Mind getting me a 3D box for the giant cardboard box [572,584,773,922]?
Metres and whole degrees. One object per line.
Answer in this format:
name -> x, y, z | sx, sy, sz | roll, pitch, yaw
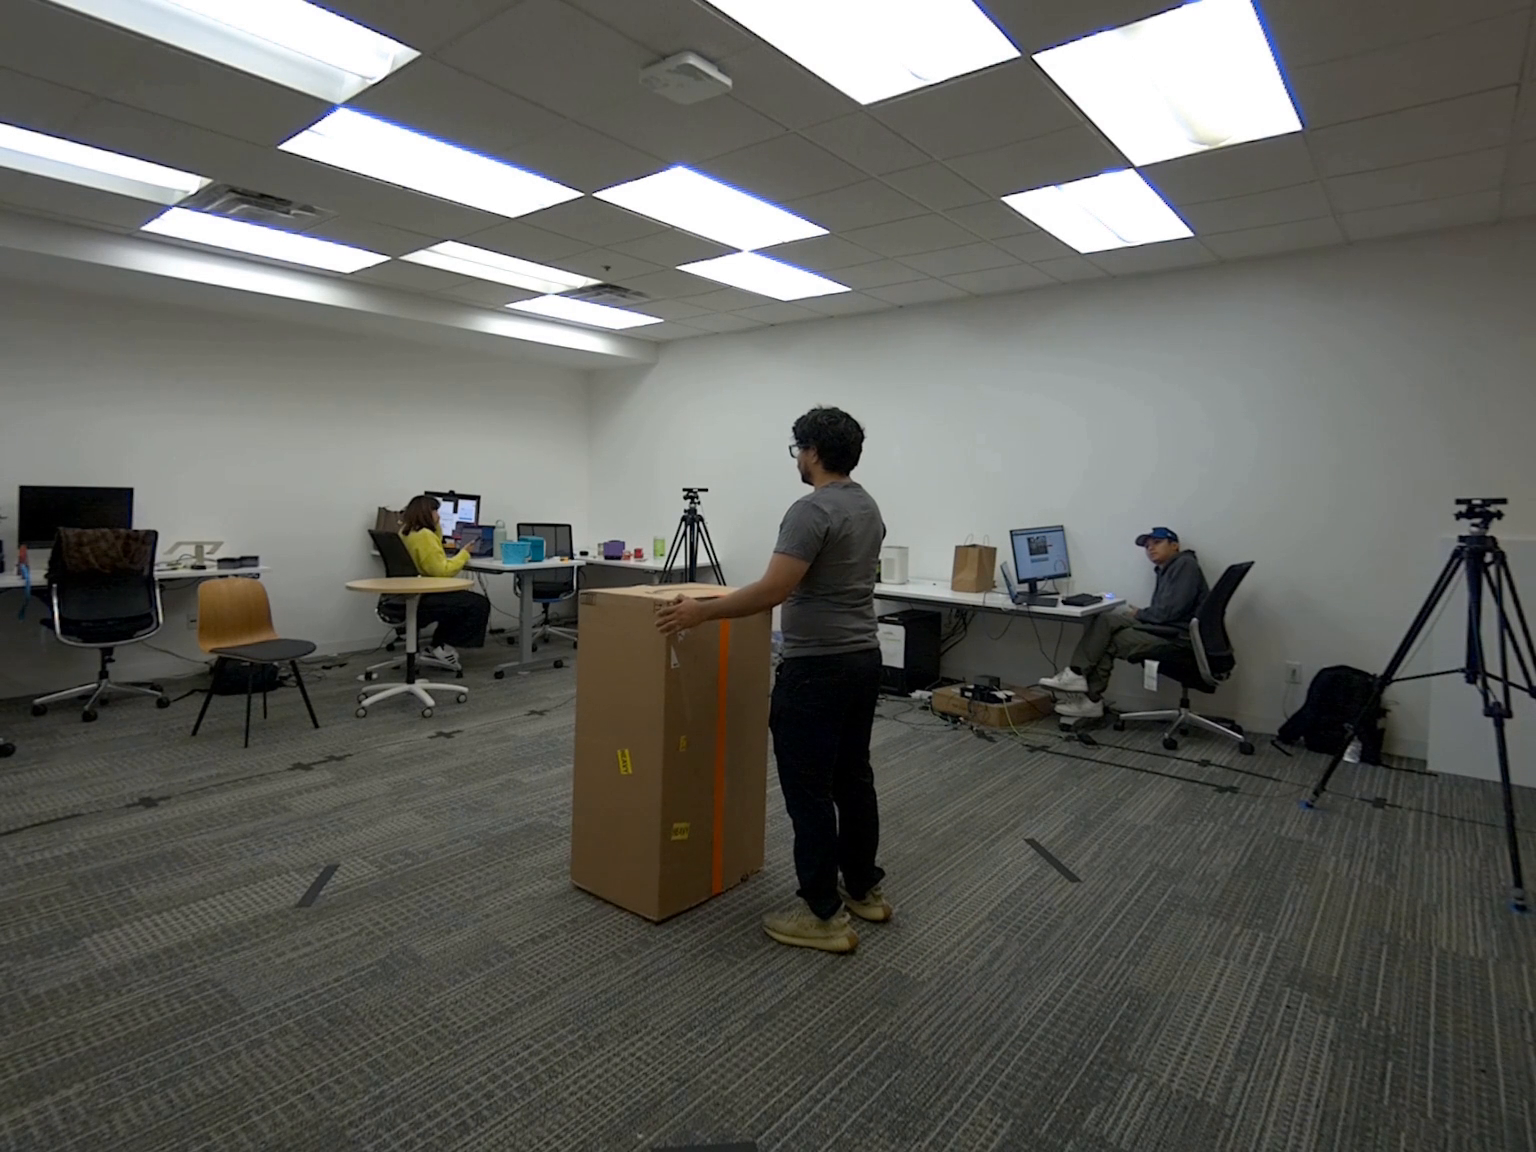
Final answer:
giant cardboard box -> -0.343, 0.563, 3.030 | 0.440, 1.025, 0.560 | 3, 2, 38
